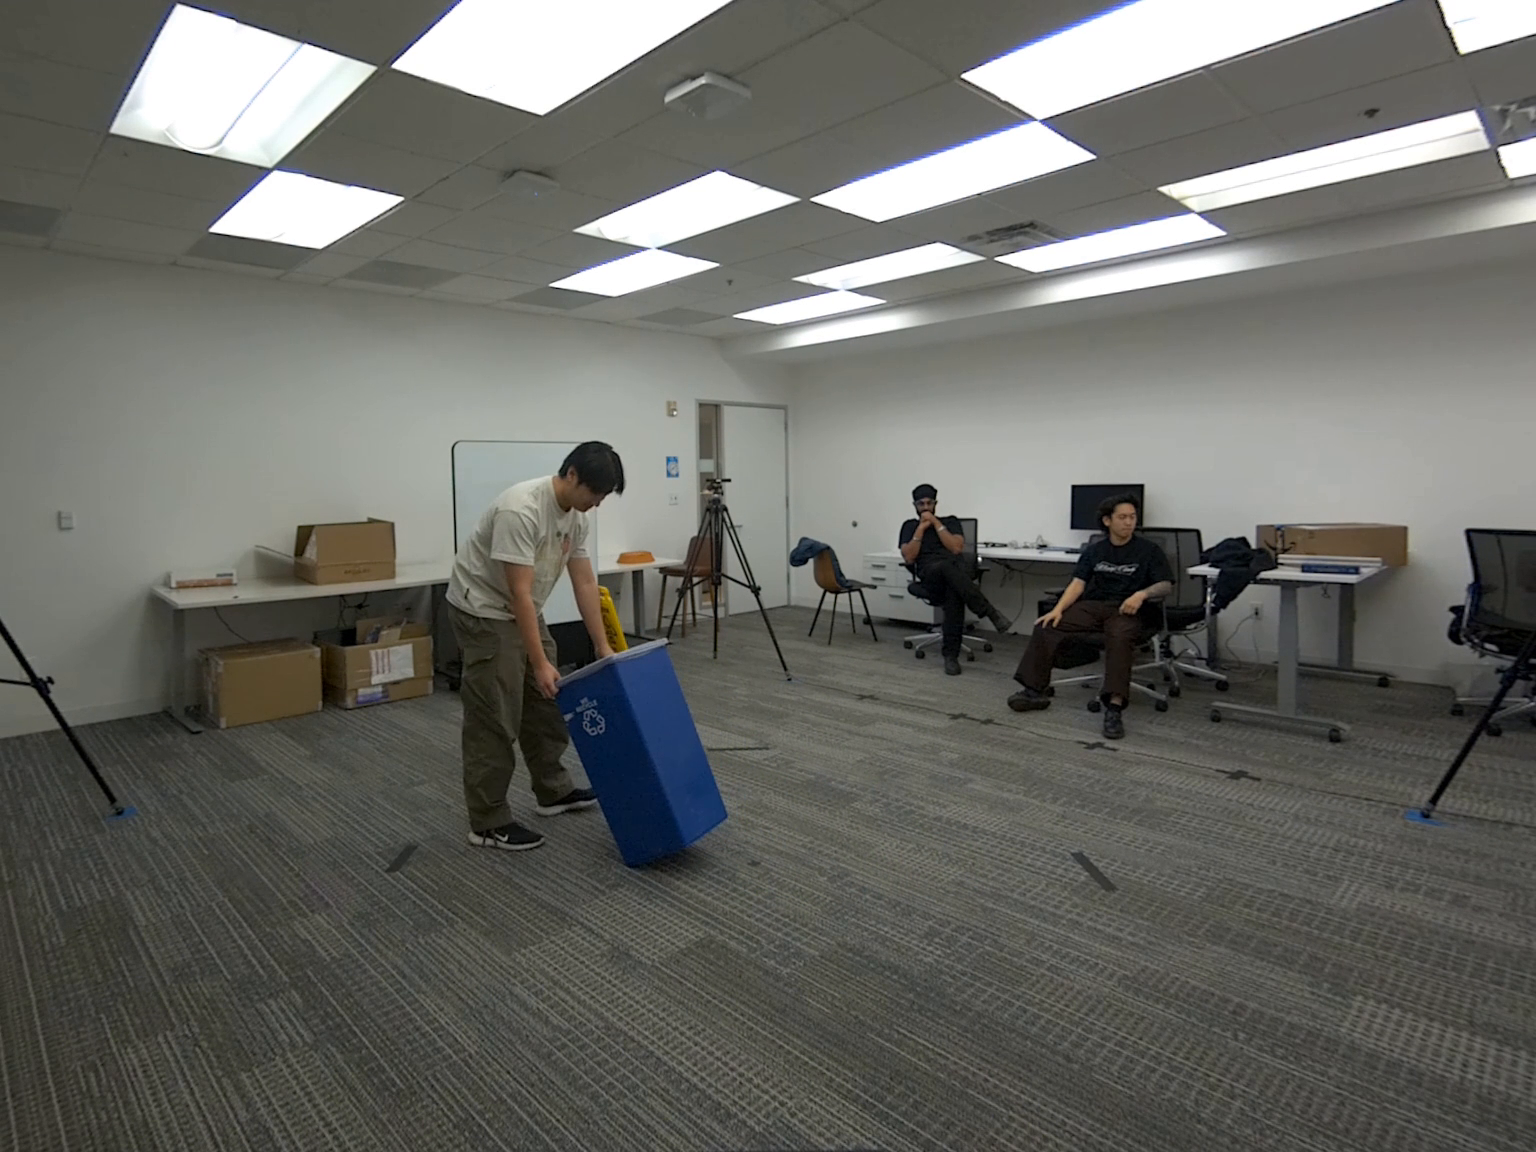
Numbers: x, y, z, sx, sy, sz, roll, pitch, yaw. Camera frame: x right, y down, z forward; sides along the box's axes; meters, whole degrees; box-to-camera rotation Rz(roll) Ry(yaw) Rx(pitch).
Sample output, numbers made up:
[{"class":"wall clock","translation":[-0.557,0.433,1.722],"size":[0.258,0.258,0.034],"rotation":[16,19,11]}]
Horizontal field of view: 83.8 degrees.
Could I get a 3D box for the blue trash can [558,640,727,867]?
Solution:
[{"class":"blue trash can","translation":[-0.463,0.650,3.199],"size":[0.378,0.722,0.370],"rotation":[-29,-9,27]}]
